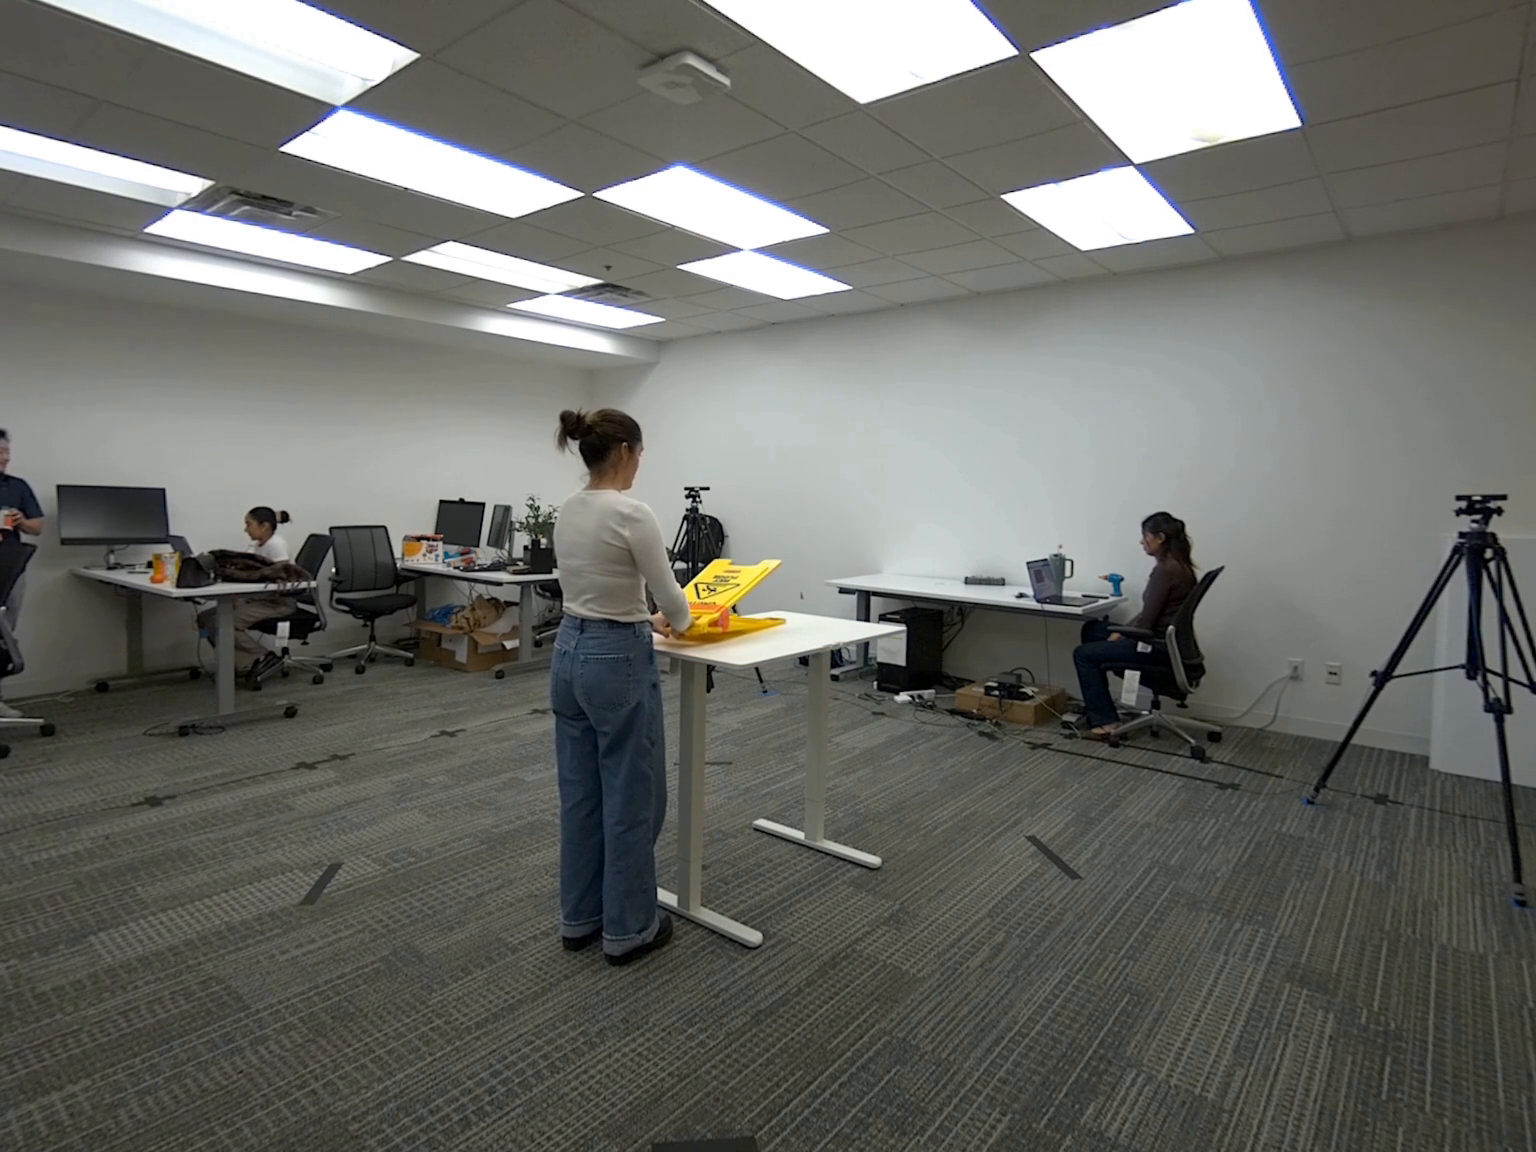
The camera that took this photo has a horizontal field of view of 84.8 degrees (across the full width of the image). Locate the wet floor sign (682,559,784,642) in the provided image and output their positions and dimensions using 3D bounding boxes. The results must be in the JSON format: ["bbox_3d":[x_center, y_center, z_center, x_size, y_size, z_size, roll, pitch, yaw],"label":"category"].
[{"bbox_3d":[-0.199,0.118,2.994,0.289,0.287,0.635,1,10,24],"label":"wet floor sign"}]
